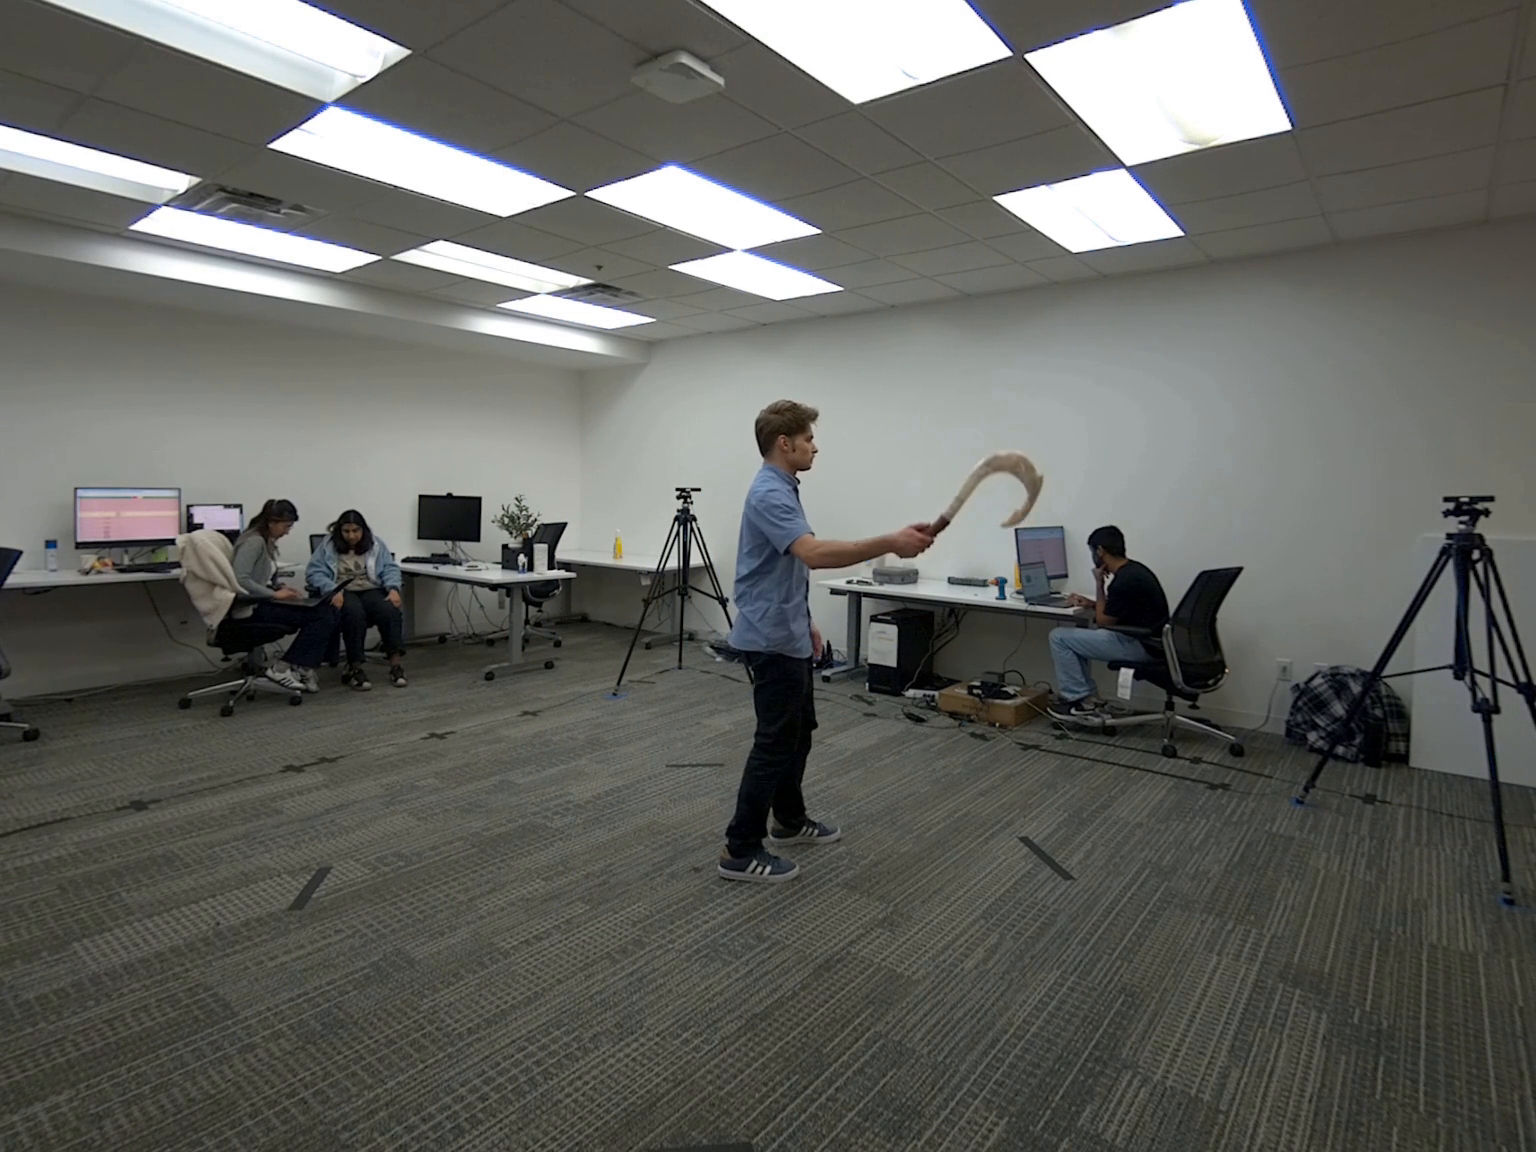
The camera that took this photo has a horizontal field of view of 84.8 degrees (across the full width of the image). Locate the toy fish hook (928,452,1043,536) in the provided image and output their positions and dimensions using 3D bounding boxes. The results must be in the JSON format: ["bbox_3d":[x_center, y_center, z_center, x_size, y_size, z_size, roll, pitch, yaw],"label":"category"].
[{"bbox_3d":[0.616,-0.176,2.688,0.508,0.232,0.046,-42,-26,19],"label":"toy fish hook"}]
